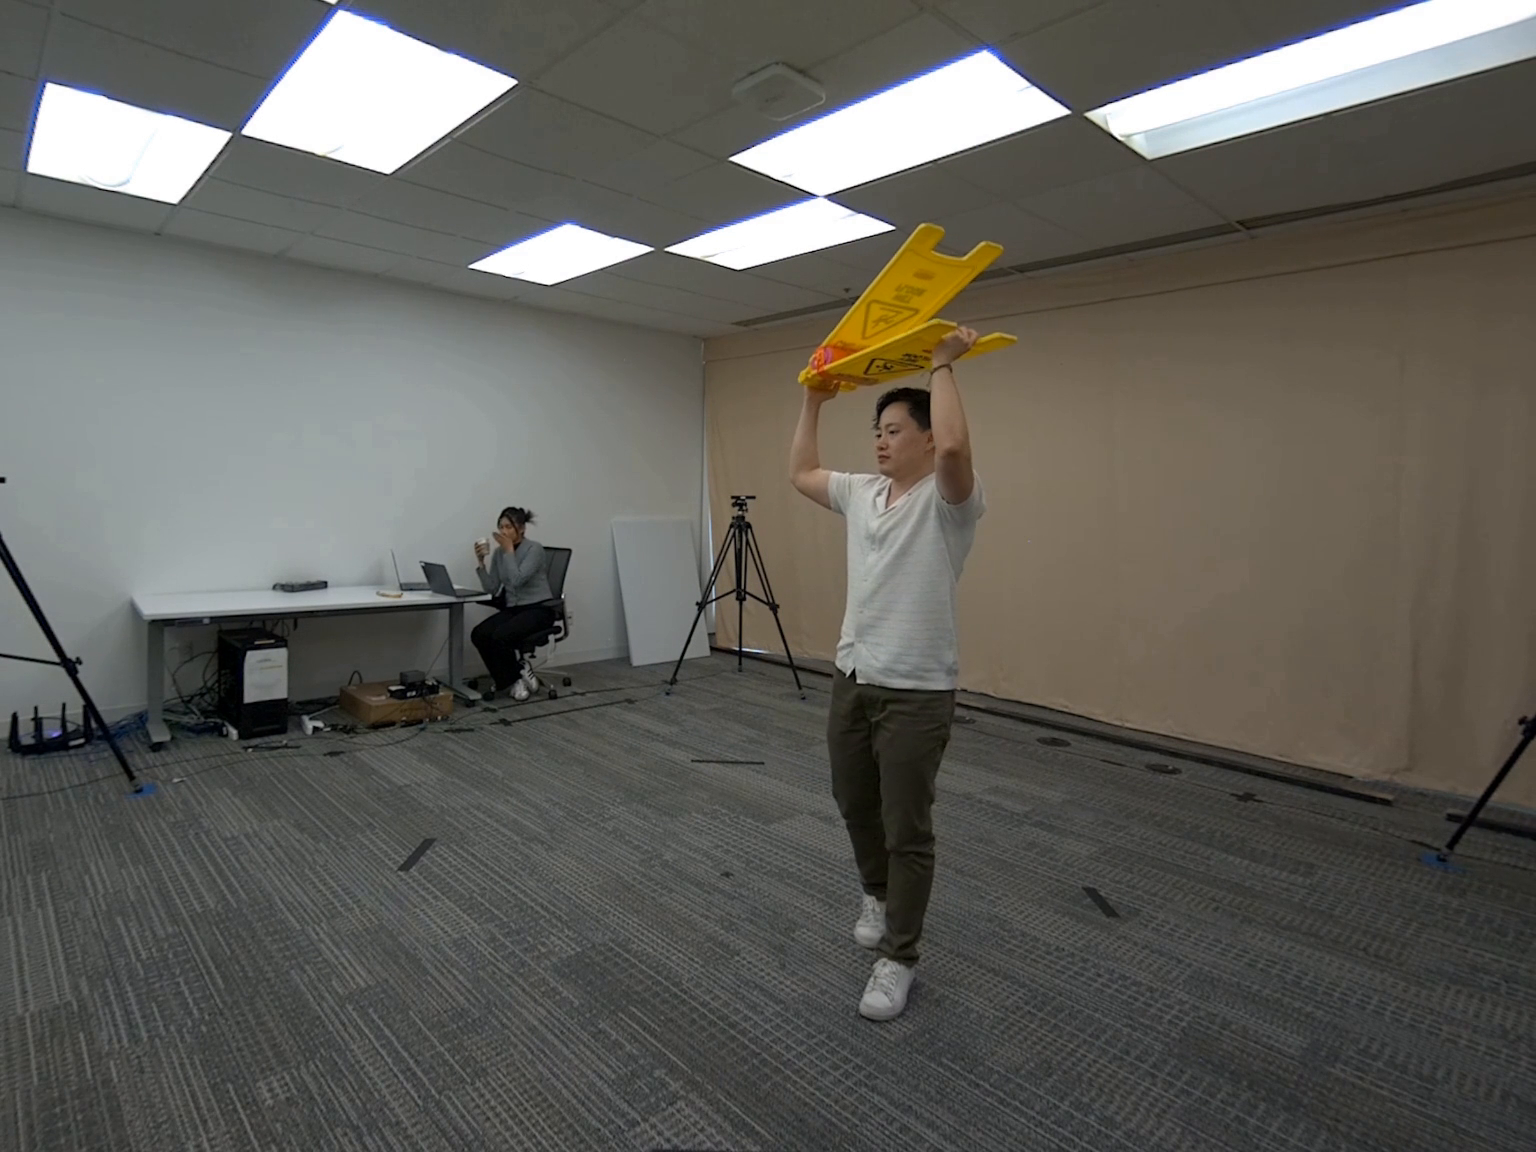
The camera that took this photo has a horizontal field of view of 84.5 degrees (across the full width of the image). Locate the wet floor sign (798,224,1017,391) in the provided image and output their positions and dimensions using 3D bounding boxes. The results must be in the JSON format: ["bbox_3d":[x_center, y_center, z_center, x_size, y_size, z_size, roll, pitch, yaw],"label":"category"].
[{"bbox_3d":[0.330,-0.653,2.350,0.276,0.292,0.653,2,-13,-30],"label":"wet floor sign"}]
